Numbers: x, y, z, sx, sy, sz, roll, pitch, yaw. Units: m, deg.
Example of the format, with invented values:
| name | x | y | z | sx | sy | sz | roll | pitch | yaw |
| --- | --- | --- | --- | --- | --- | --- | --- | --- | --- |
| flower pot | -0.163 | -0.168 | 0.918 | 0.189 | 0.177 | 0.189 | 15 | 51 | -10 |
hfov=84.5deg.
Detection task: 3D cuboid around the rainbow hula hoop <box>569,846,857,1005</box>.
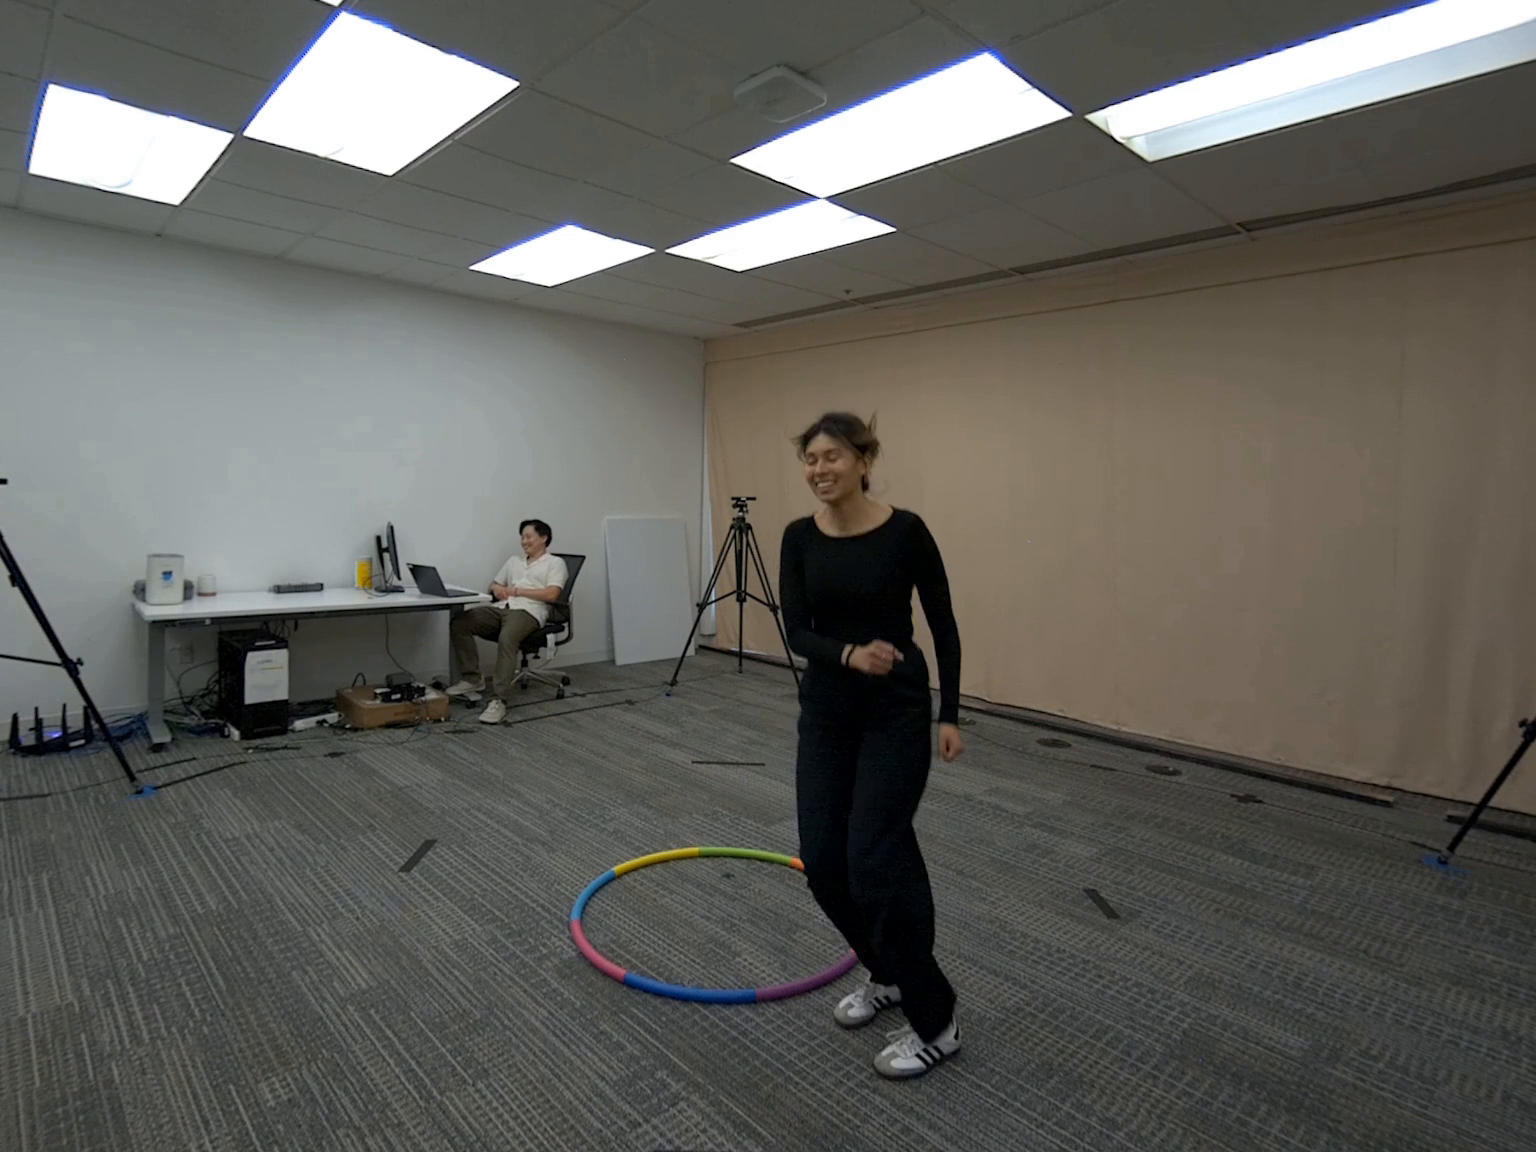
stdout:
| name | x | y | z | sx | sy | sz | roll | pitch | yaw |
| --- | --- | --- | --- | --- | --- | --- | --- | --- | --- |
| rainbow hula hoop | -0.161 | 1.106 | 2.800 | 0.978 | 0.035 | 0.982 | 1 | 5 | -1 |
